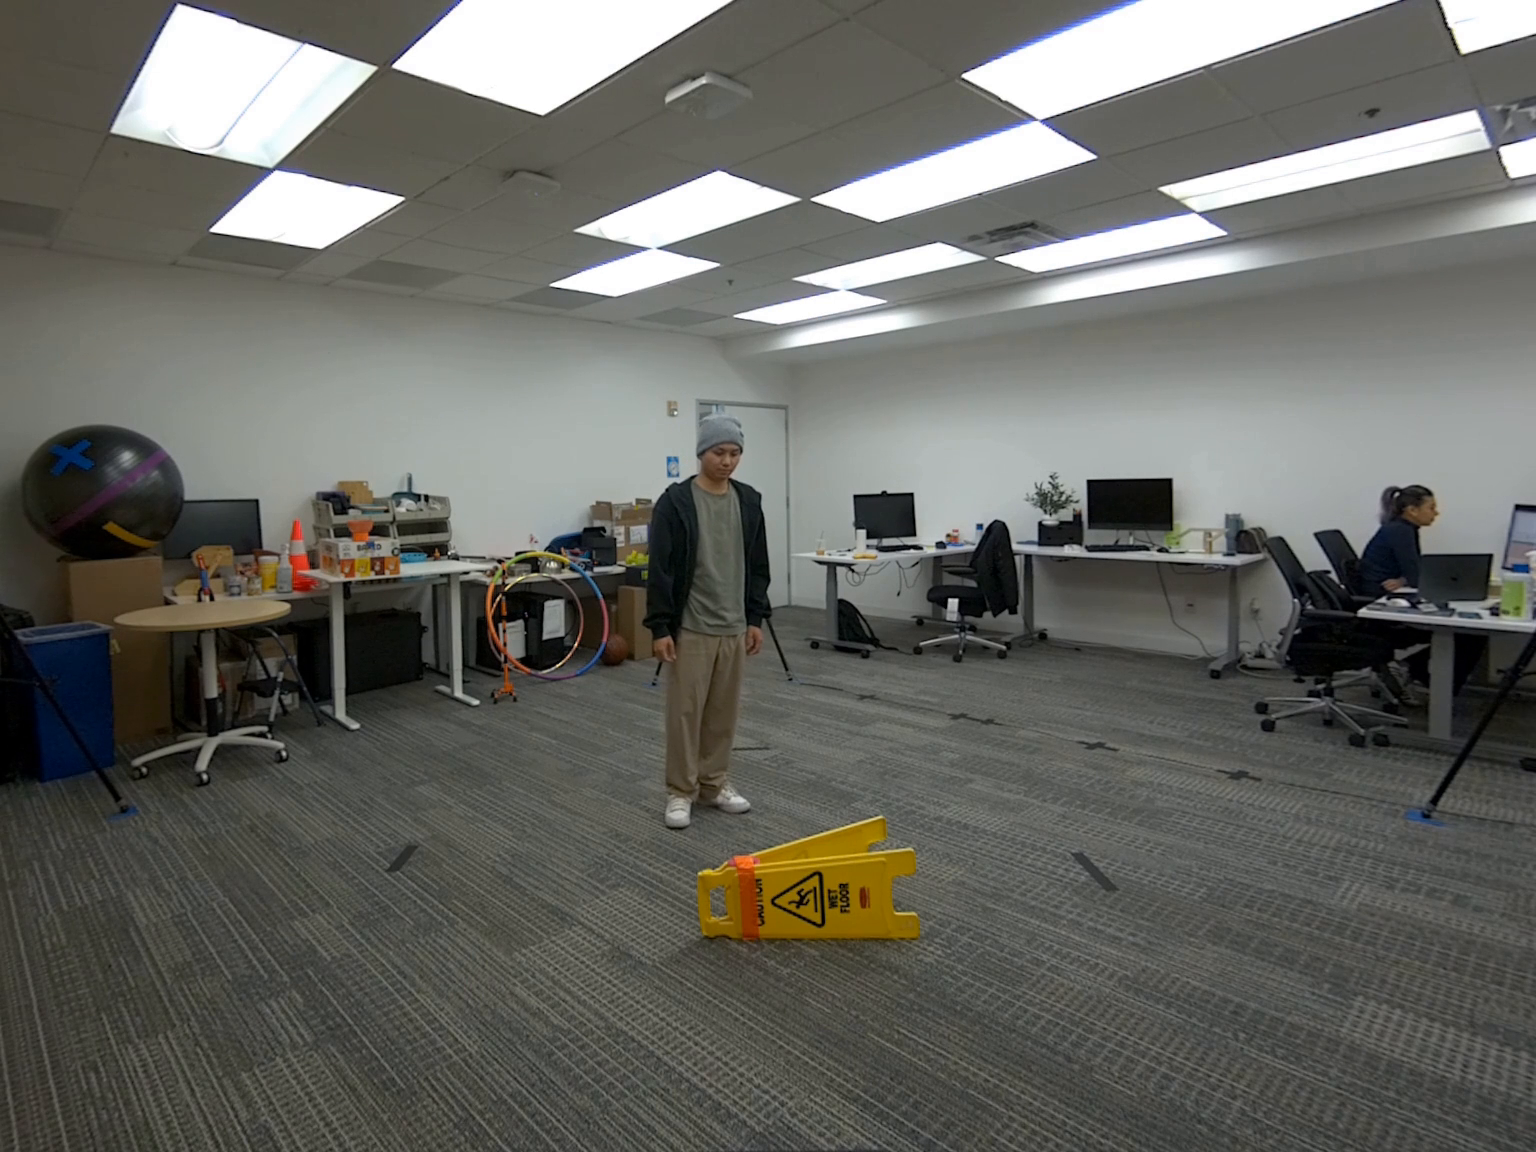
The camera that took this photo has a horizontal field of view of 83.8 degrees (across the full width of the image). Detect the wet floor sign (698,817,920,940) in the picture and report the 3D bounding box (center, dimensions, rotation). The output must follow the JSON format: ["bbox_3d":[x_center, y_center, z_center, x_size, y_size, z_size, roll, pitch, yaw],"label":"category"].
[{"bbox_3d":[0.110,0.968,2.643,0.641,0.281,0.293,-5,6,-9],"label":"wet floor sign"}]
